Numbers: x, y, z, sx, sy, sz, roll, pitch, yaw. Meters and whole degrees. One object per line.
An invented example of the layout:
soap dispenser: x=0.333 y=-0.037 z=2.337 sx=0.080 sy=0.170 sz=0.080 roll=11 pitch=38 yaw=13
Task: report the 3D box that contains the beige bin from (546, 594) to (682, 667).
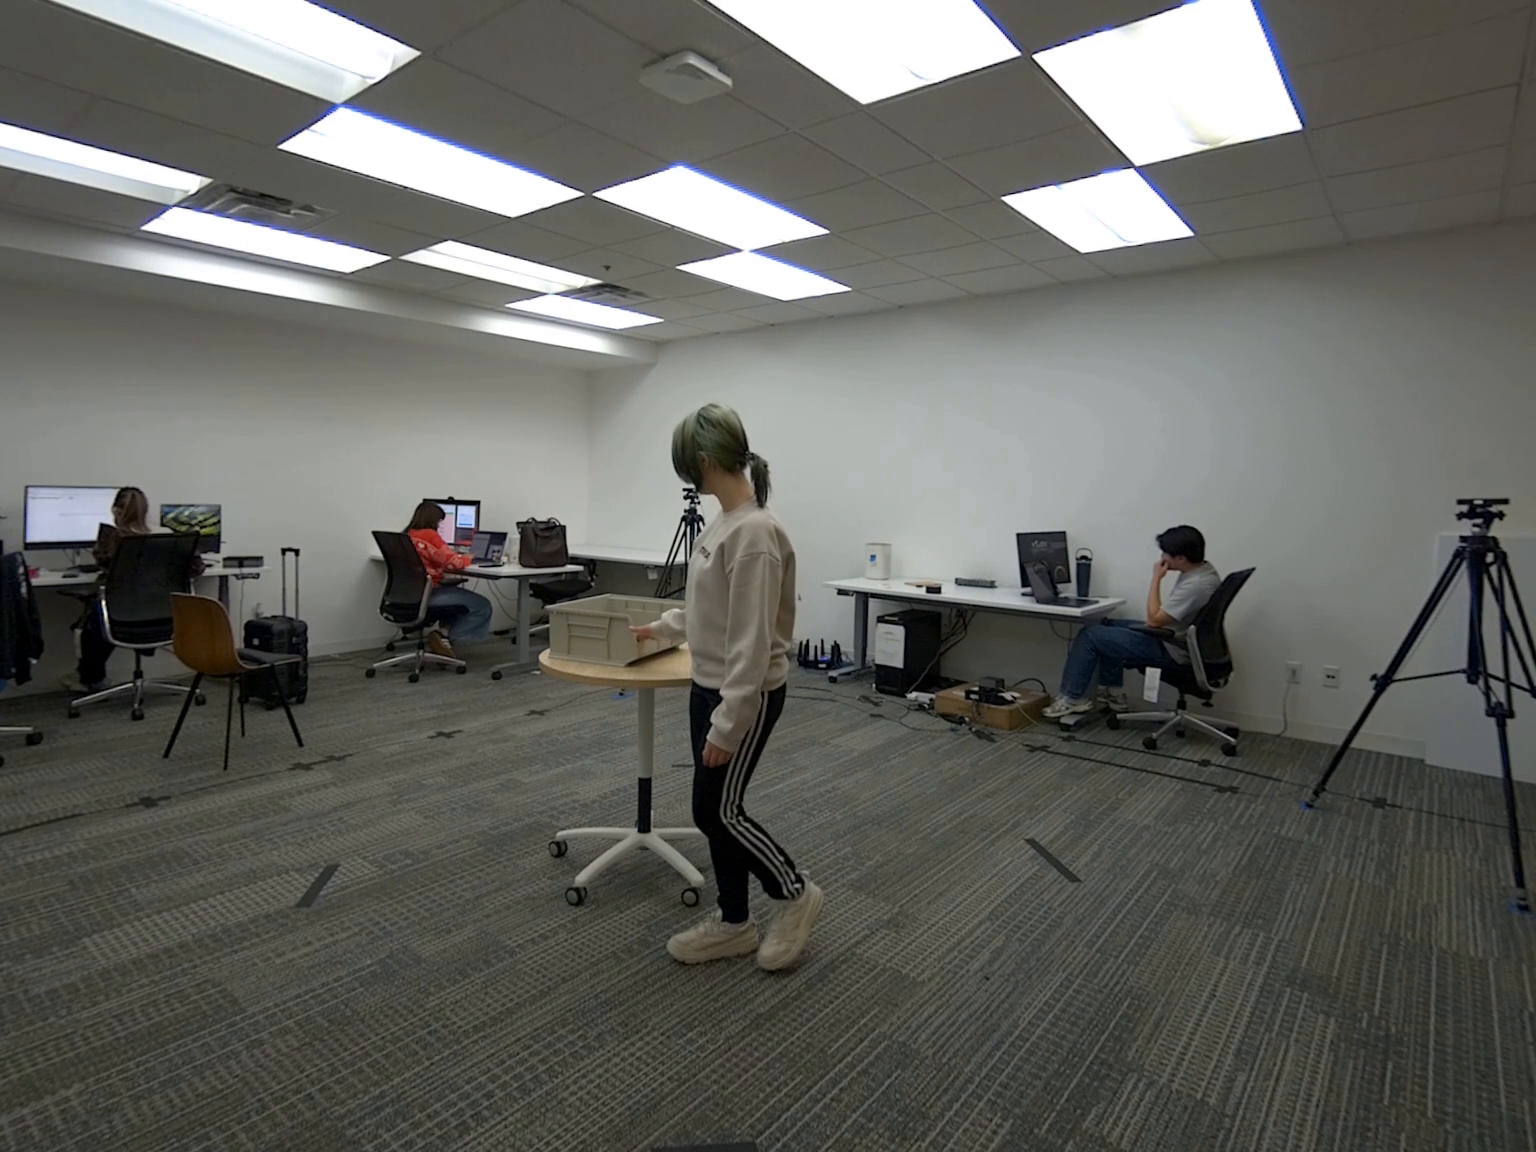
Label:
beige bin: x=-0.545 y=0.189 z=3.094 sx=0.386 sy=0.188 sz=0.414 roll=2 pitch=6 yaw=22
